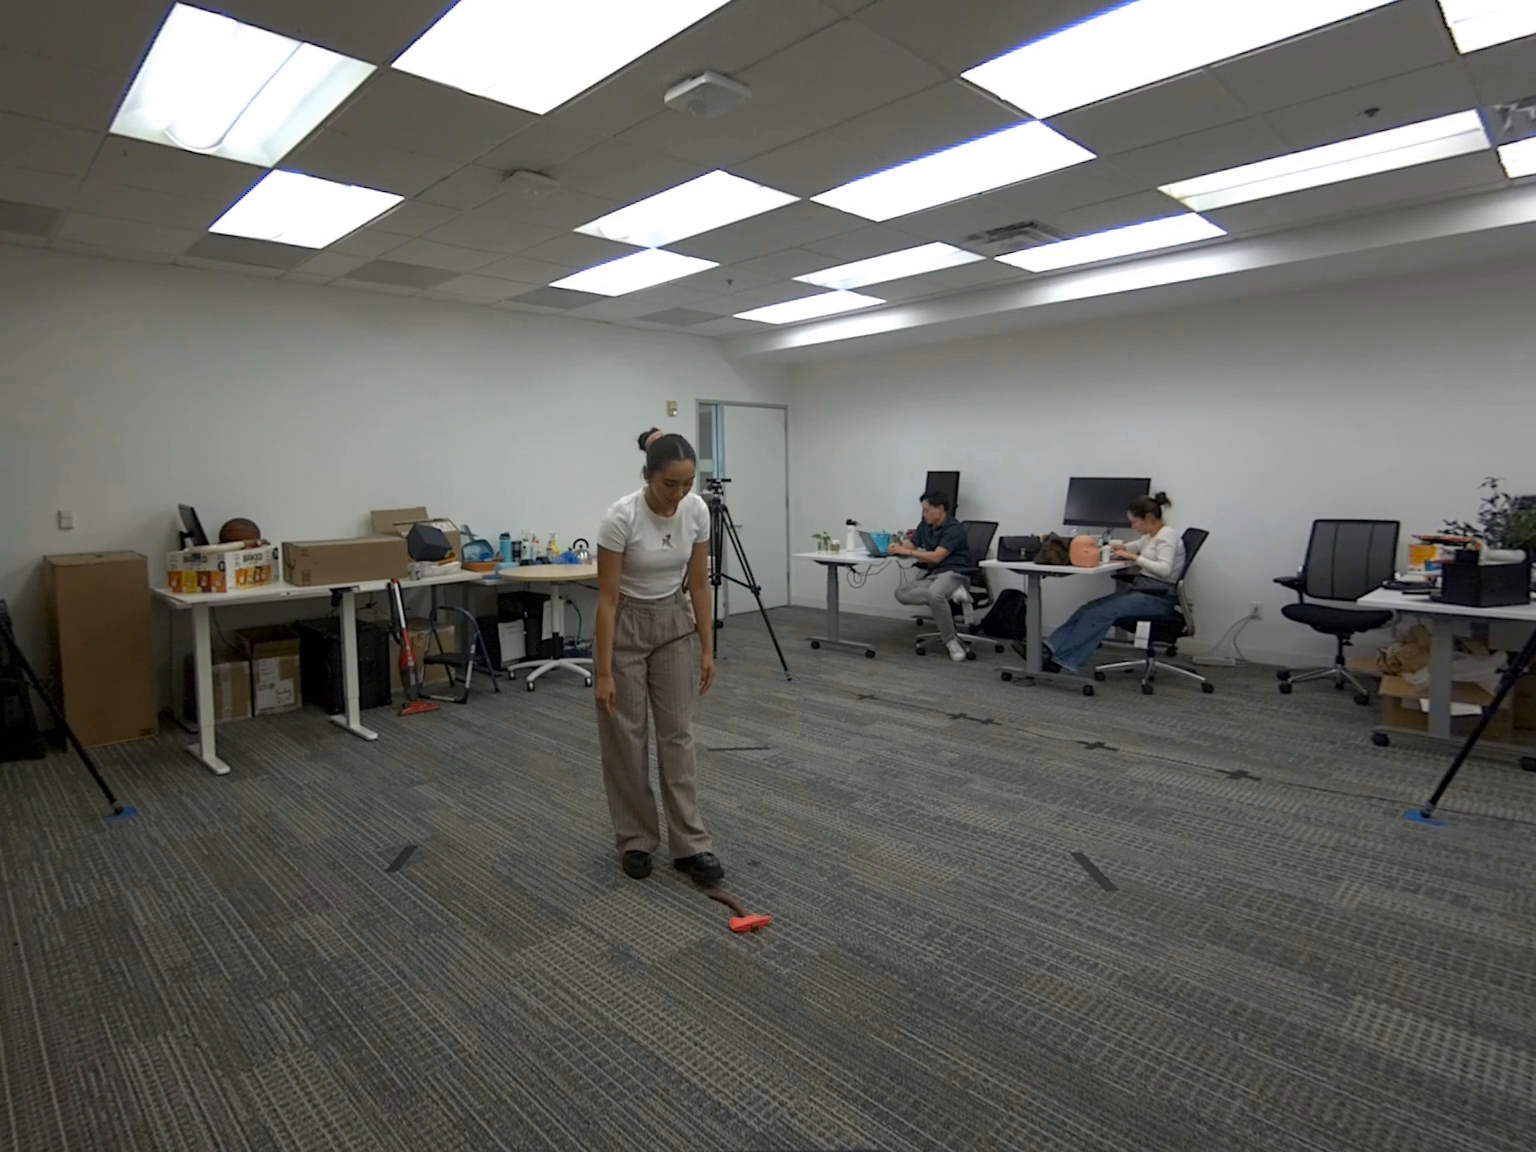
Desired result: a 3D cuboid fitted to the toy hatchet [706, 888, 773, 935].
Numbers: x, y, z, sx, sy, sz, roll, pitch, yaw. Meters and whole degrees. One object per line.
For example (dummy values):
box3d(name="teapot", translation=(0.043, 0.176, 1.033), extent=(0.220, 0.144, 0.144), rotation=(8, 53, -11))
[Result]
box3d(name="toy hatchet", translation=(-0.118, 1.078, 2.735), extent=(0.128, 0.029, 0.278), rotation=(-9, 9, -42))
